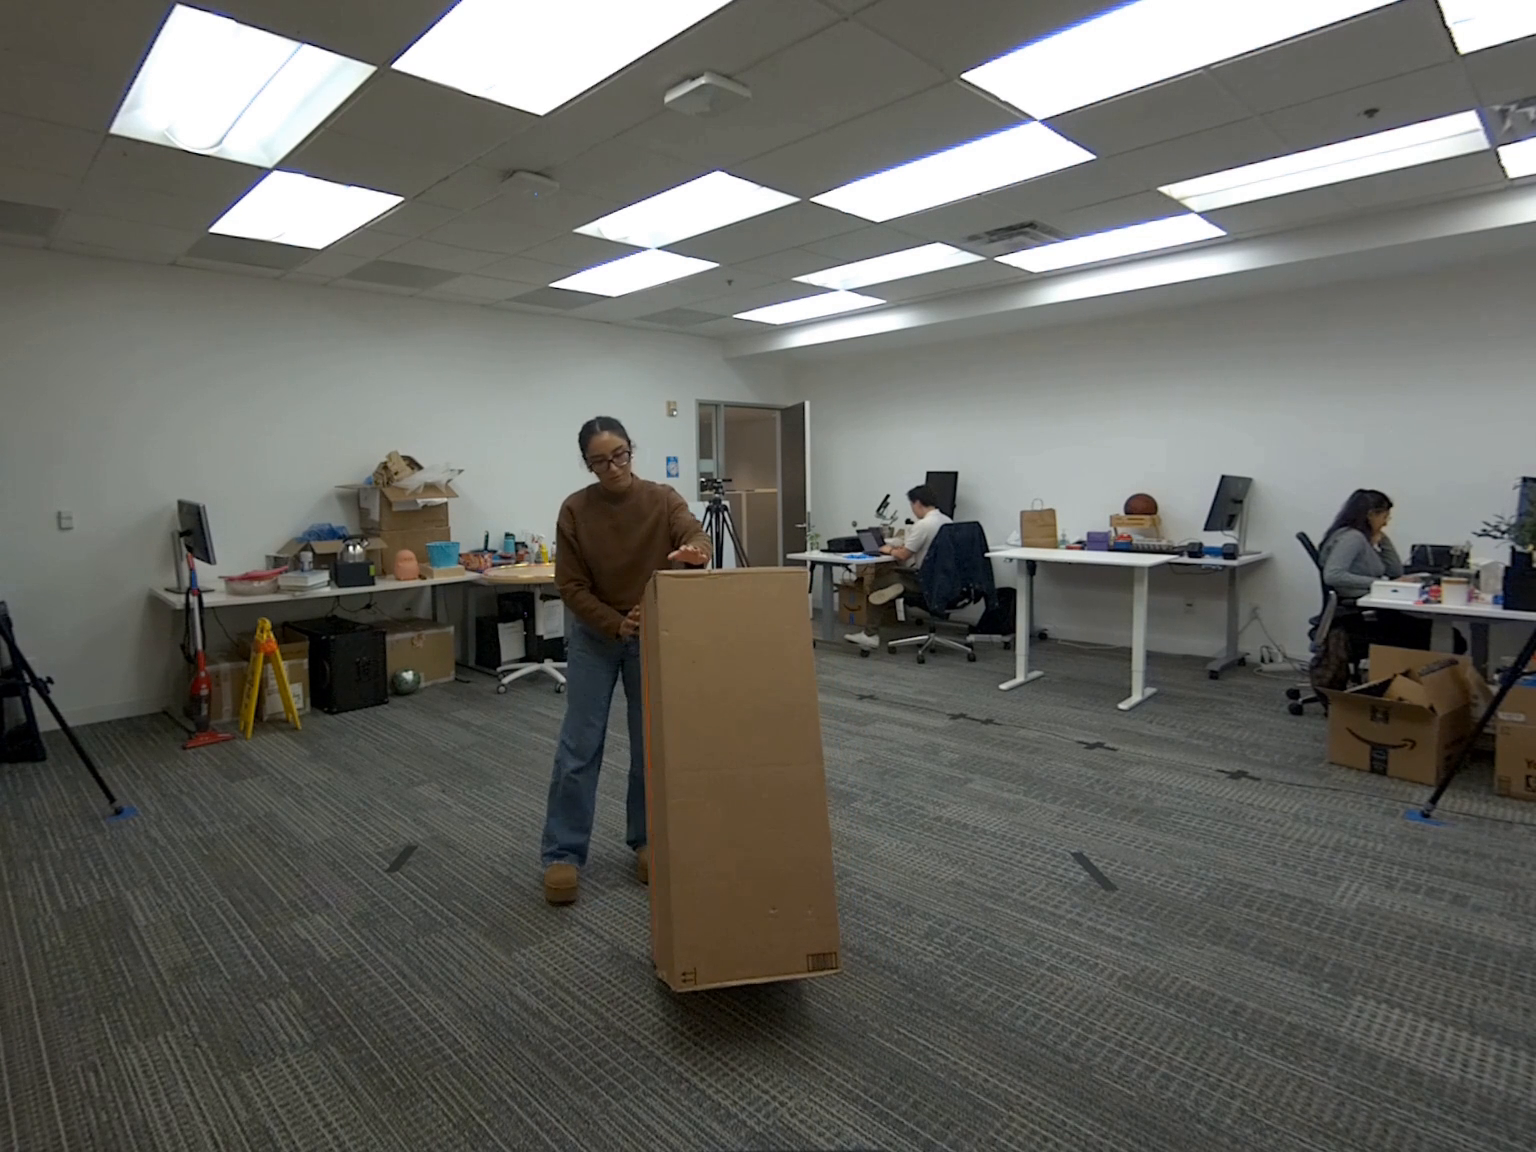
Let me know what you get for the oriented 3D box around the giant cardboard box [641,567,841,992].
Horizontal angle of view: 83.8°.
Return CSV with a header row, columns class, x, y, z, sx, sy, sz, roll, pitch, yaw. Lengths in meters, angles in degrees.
class,x,y,z,sx,sy,sz,roll,pitch,yaw
giant cardboard box,-0.122,0.549,2.449,0.442,1.042,0.582,0,-15,-13
